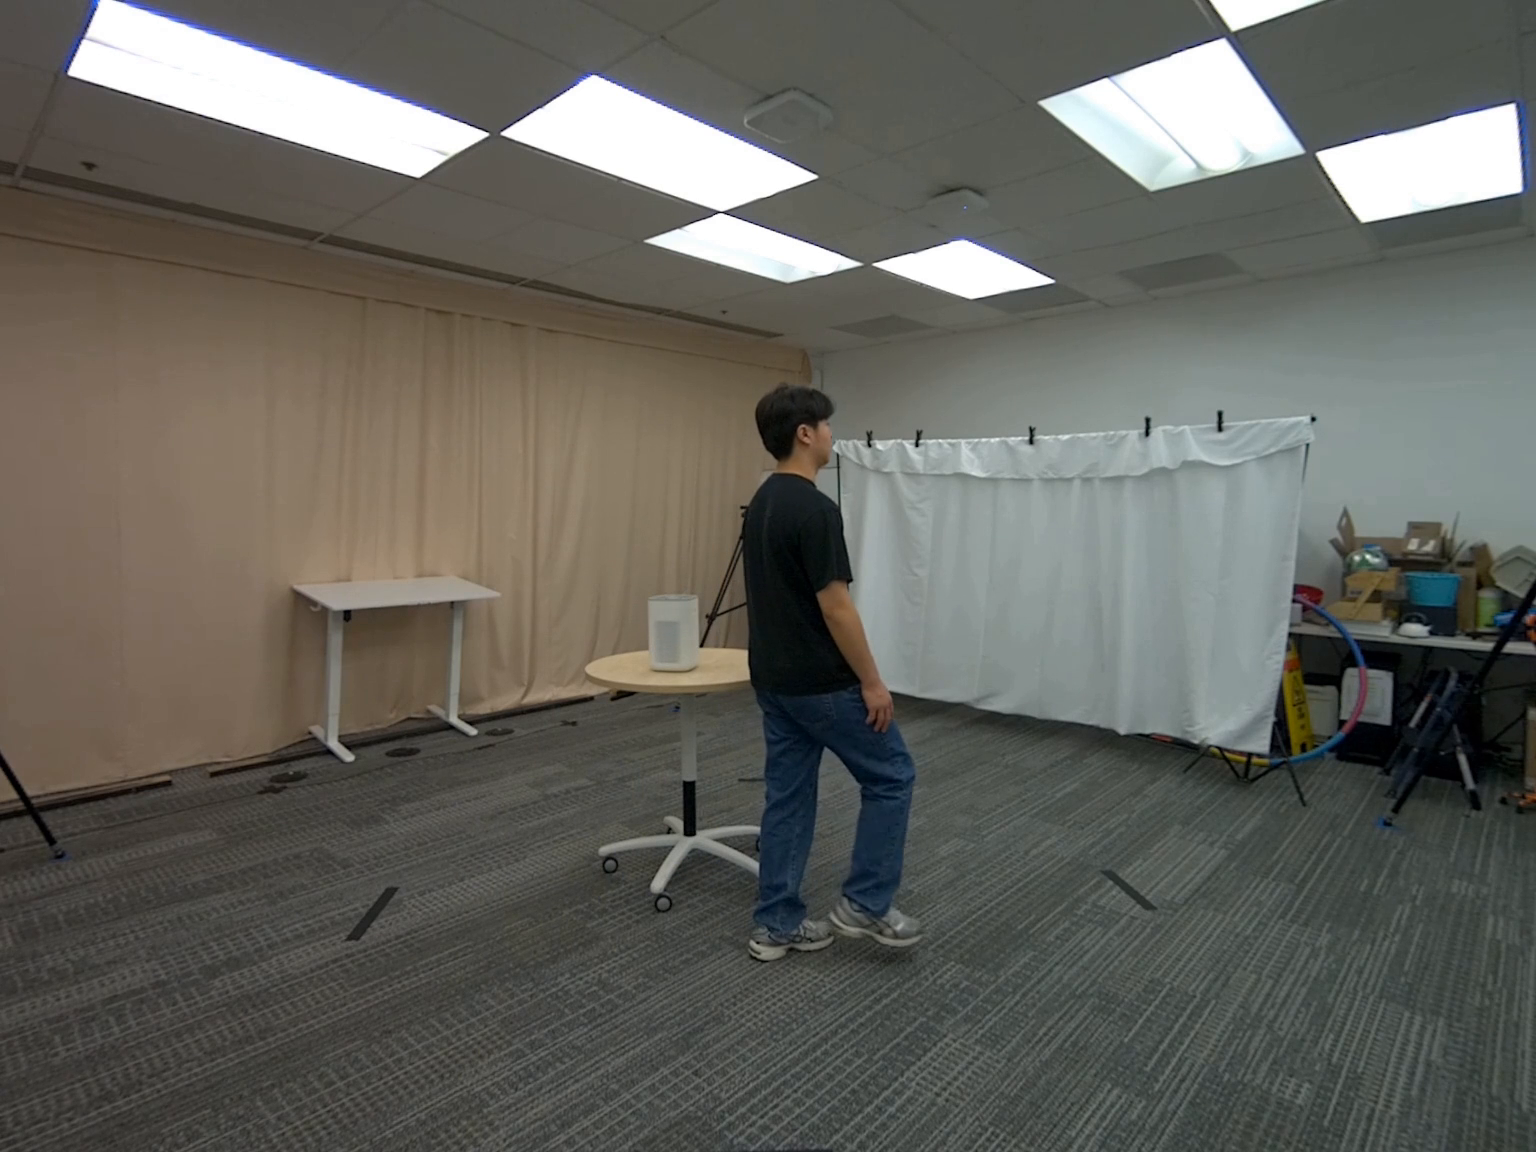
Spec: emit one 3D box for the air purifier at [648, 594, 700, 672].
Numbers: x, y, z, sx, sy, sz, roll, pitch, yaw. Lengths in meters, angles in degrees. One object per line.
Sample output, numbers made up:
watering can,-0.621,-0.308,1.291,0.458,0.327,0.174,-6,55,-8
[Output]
air purifier,-0.349,0.211,3.096,0.174,0.265,0.169,2,3,11
